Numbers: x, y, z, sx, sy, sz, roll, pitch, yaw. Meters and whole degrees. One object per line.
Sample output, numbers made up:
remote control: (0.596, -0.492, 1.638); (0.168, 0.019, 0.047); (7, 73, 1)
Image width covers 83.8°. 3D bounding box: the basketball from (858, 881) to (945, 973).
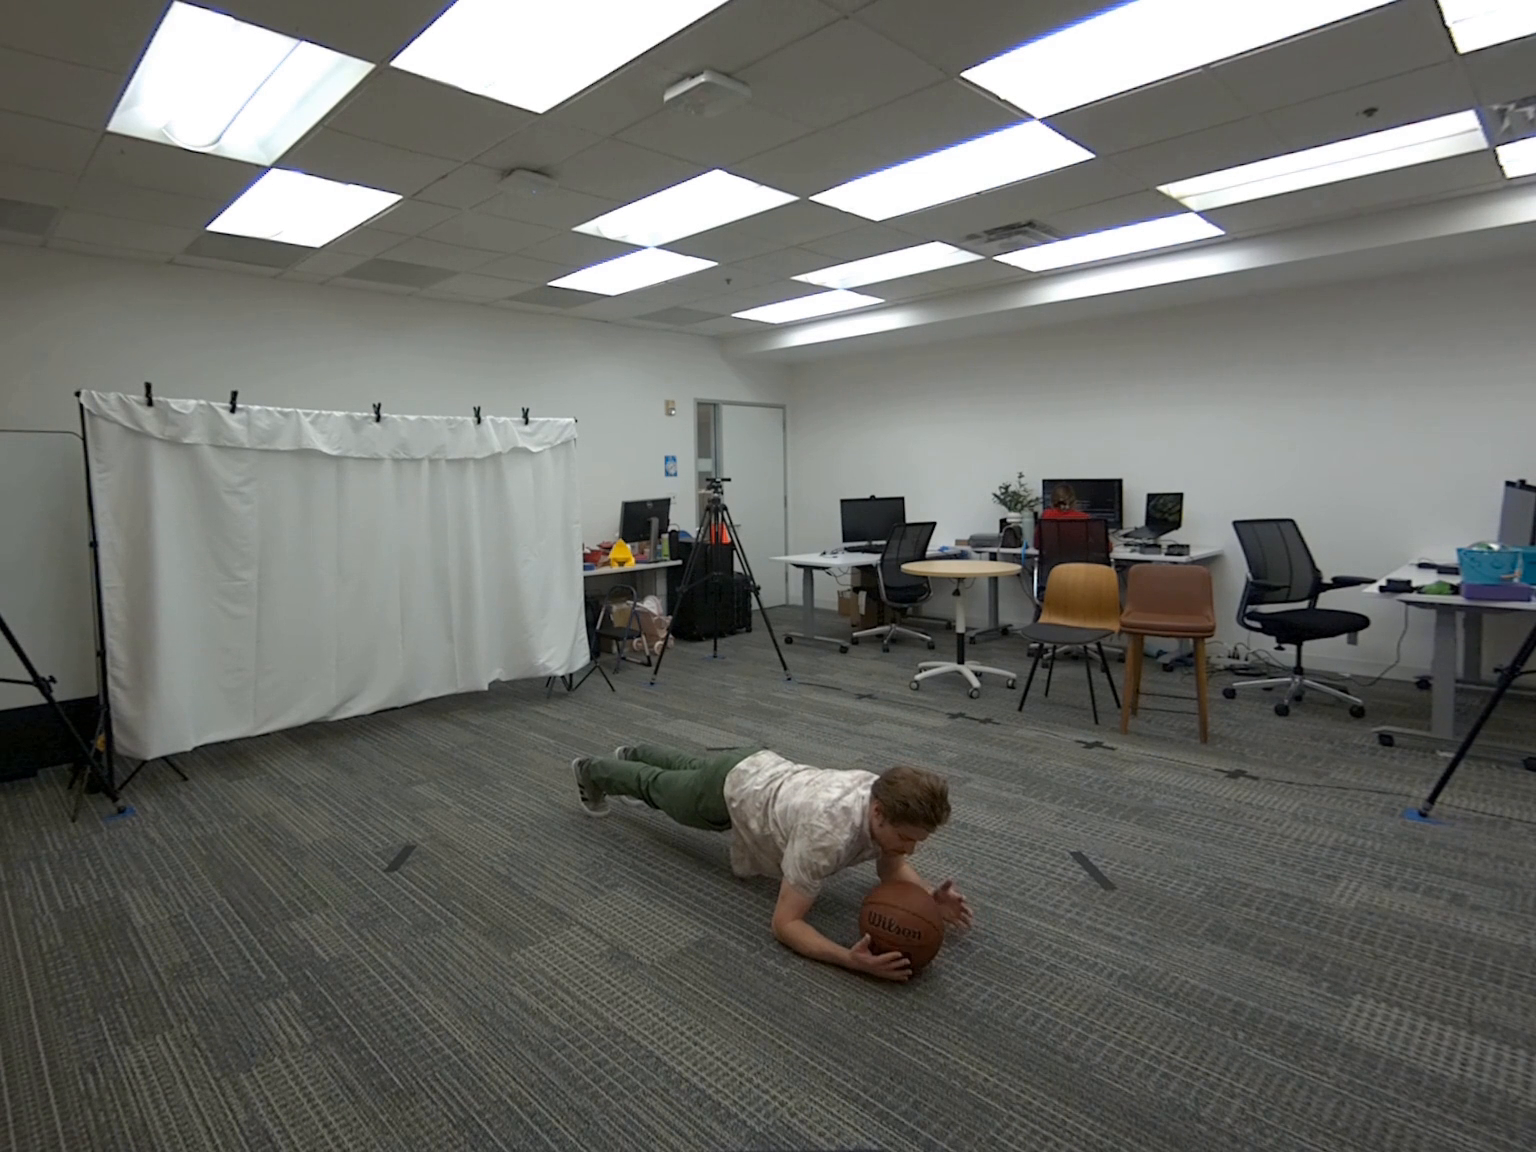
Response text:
basketball: (0.395, 0.999, 2.443); (0.236, 0.235, 0.237); (-1, 5, -2)
